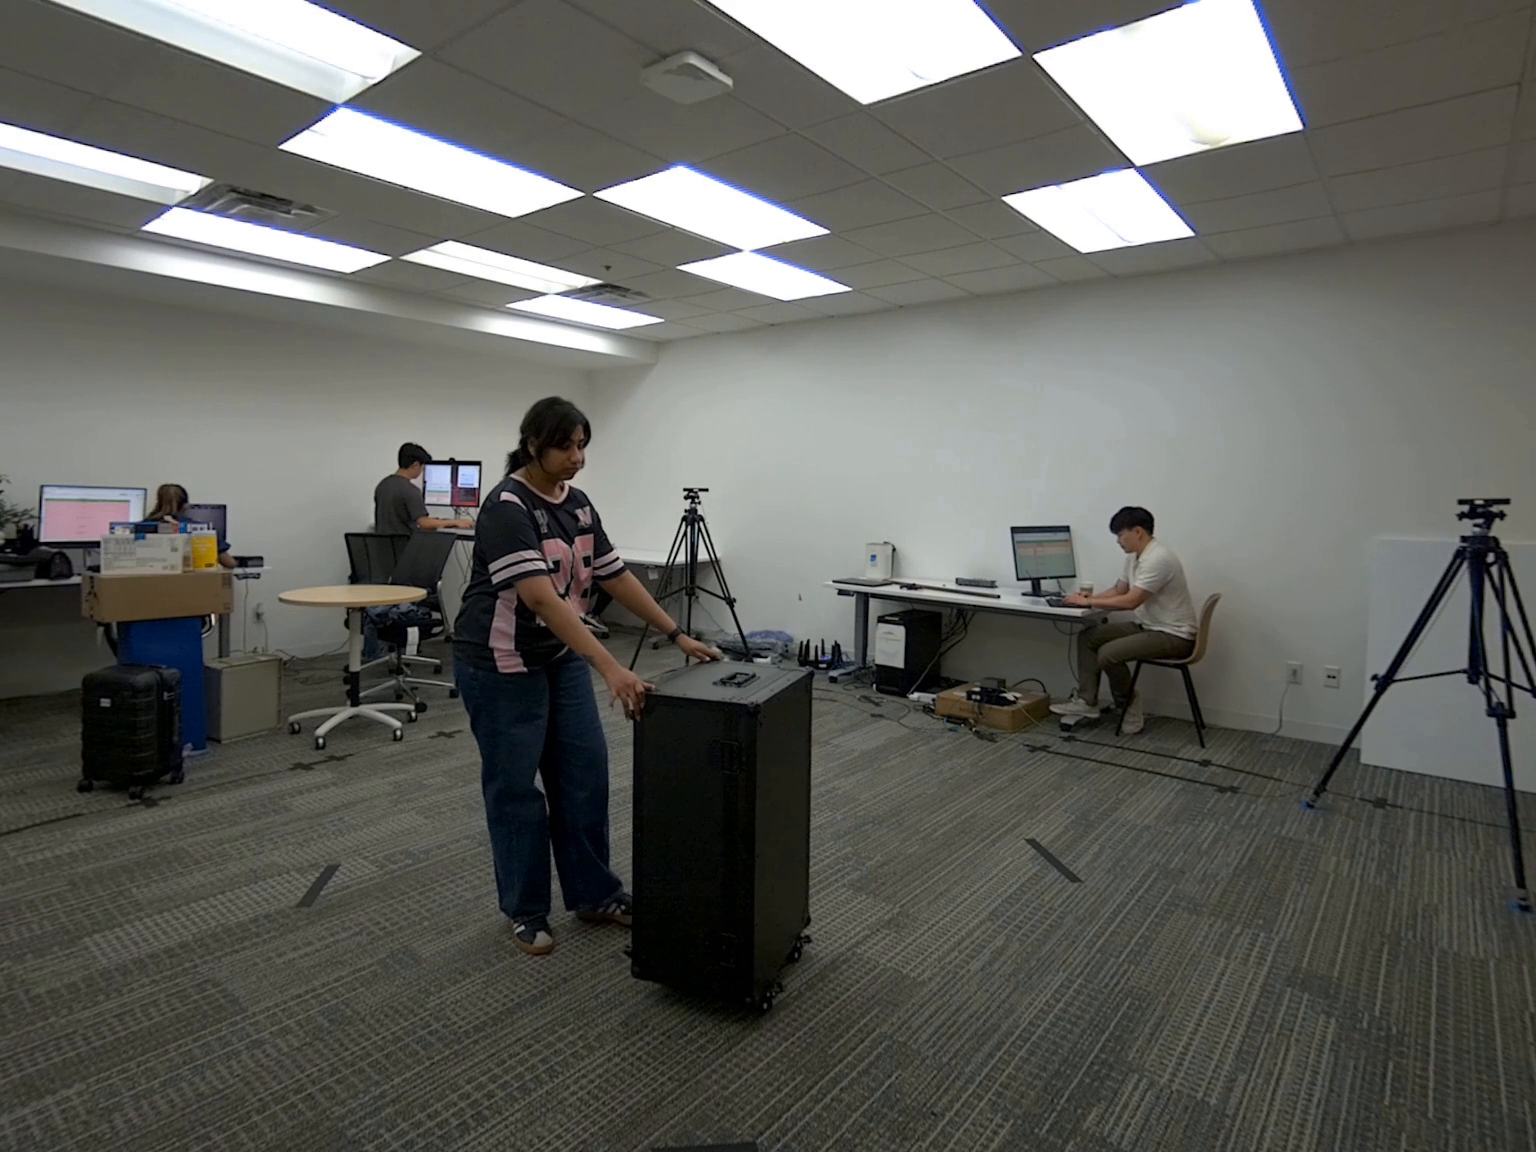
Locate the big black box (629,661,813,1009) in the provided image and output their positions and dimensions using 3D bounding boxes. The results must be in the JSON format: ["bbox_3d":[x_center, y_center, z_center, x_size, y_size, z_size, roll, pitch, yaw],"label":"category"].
[{"bbox_3d":[-0.129,0.720,2.410,0.394,0.867,0.513,1,3,21],"label":"big black box"}]
